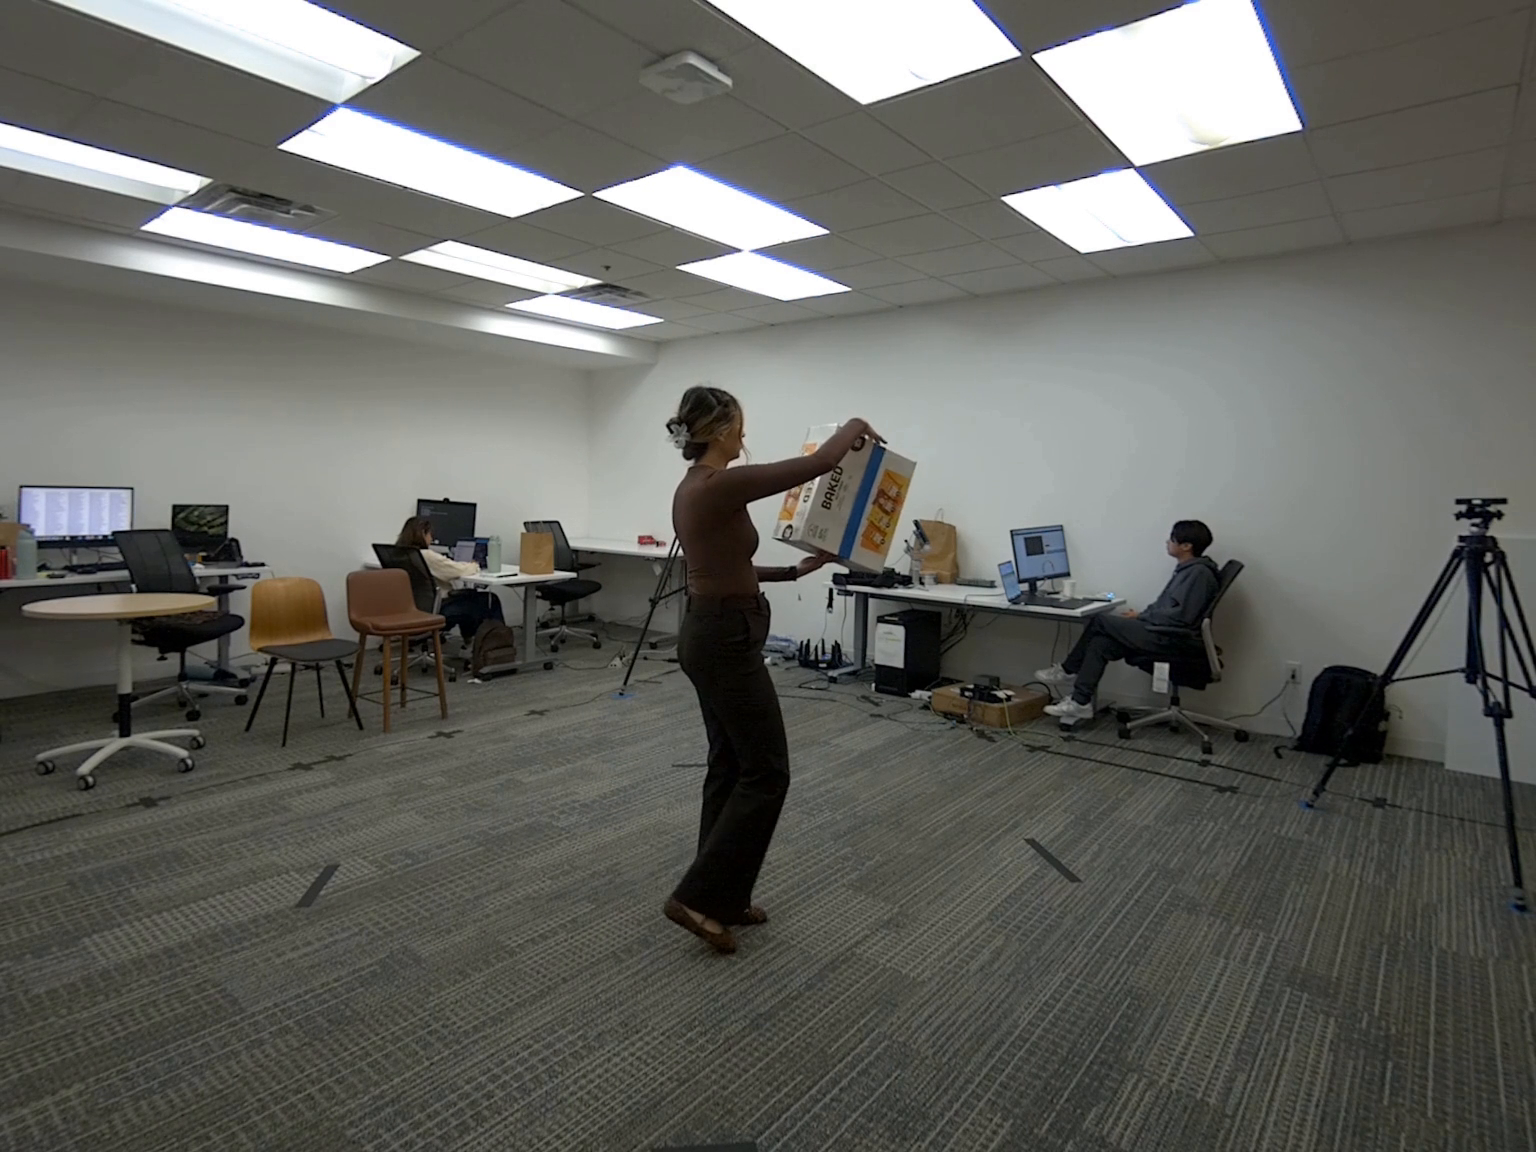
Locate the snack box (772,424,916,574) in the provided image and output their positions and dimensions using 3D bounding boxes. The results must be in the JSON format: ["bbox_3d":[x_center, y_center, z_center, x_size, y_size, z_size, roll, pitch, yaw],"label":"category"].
[{"bbox_3d":[0.251,-0.260,2.896,0.330,0.406,0.211,20,-5,-26],"label":"snack box"}]
